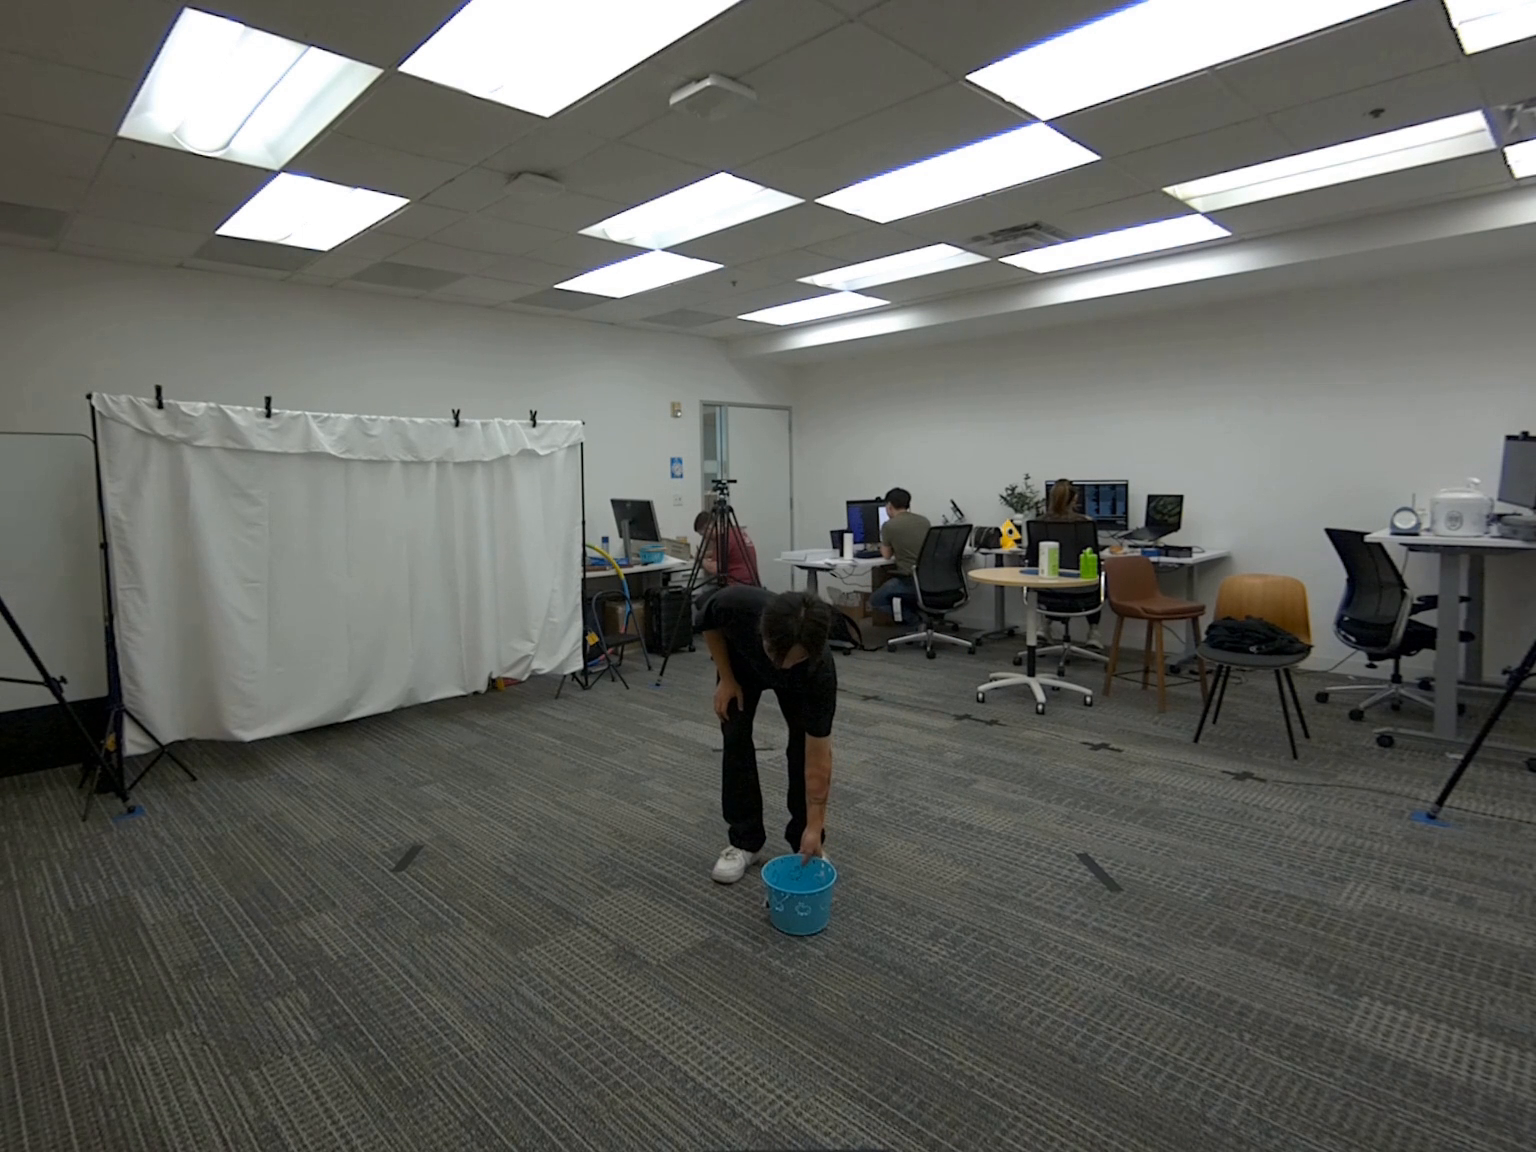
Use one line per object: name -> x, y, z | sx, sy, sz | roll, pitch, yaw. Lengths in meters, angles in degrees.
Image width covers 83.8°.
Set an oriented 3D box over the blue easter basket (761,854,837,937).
blue easter basket -> 0.104, 1.005, 2.681 | 0.243, 0.155, 0.246 | -2, 9, -1
